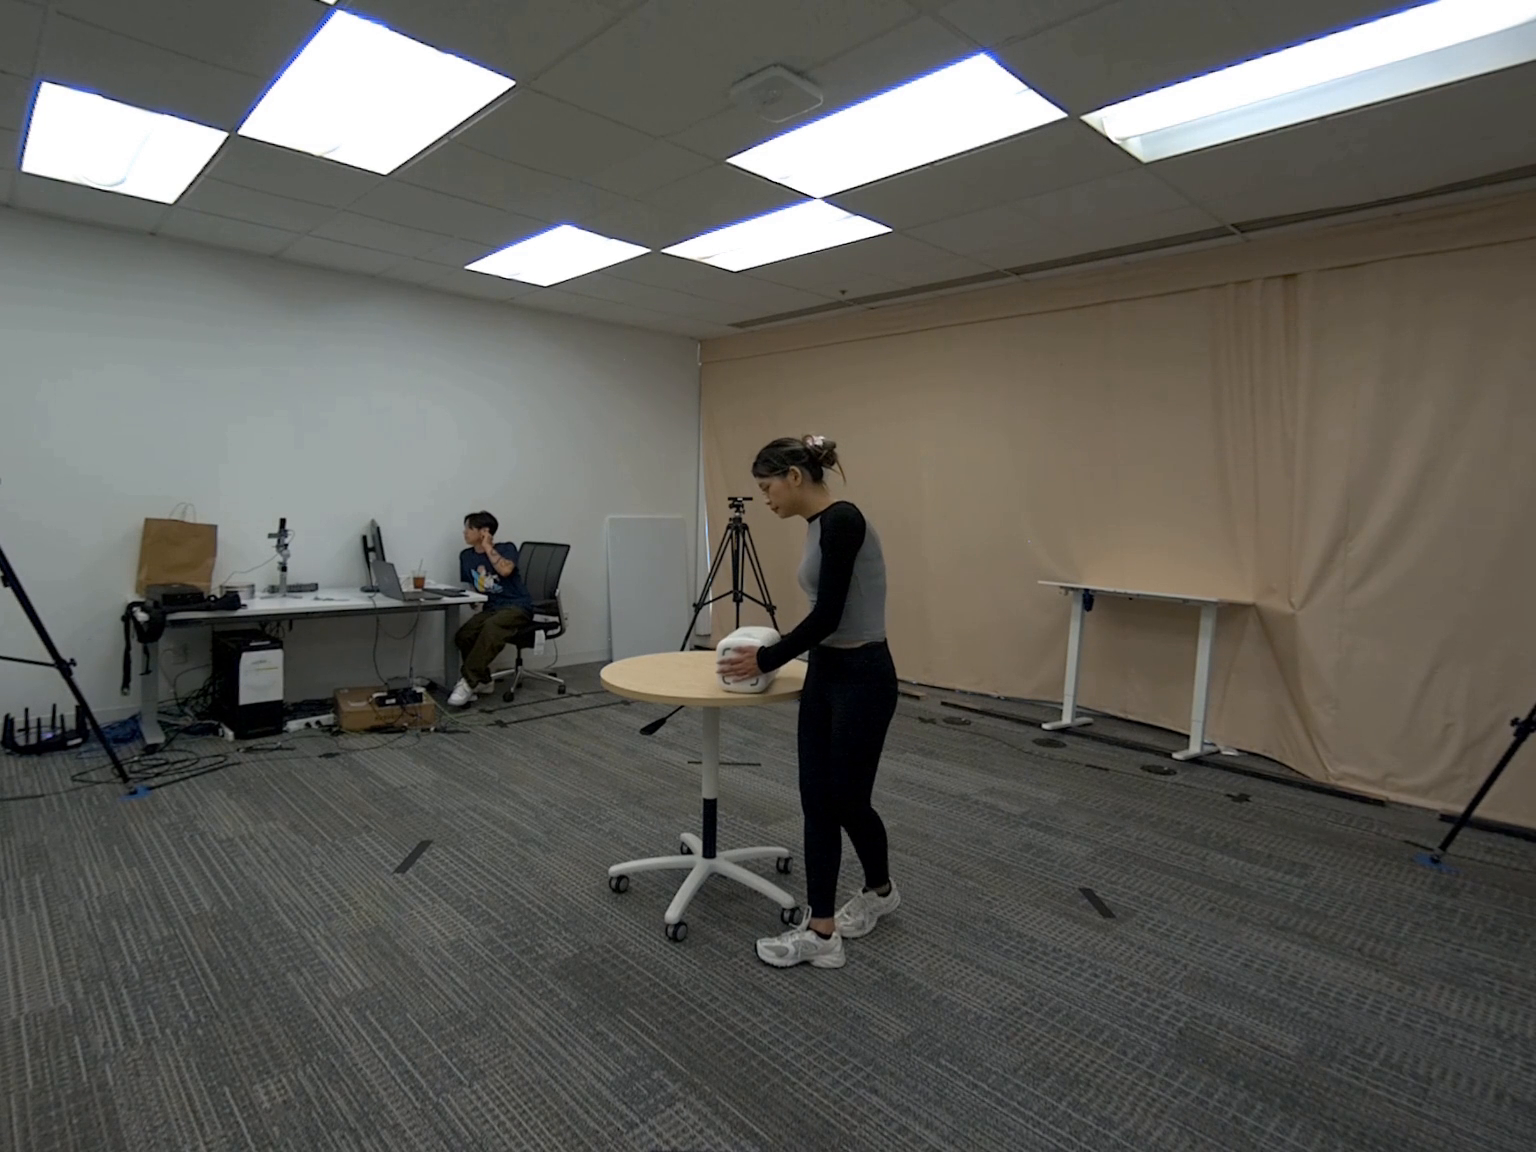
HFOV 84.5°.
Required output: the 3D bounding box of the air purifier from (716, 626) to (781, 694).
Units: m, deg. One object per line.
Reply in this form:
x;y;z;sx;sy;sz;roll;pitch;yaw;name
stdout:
-0.059;0.265;2.693;0.172;0.171;0.264;5;6;9;air purifier
